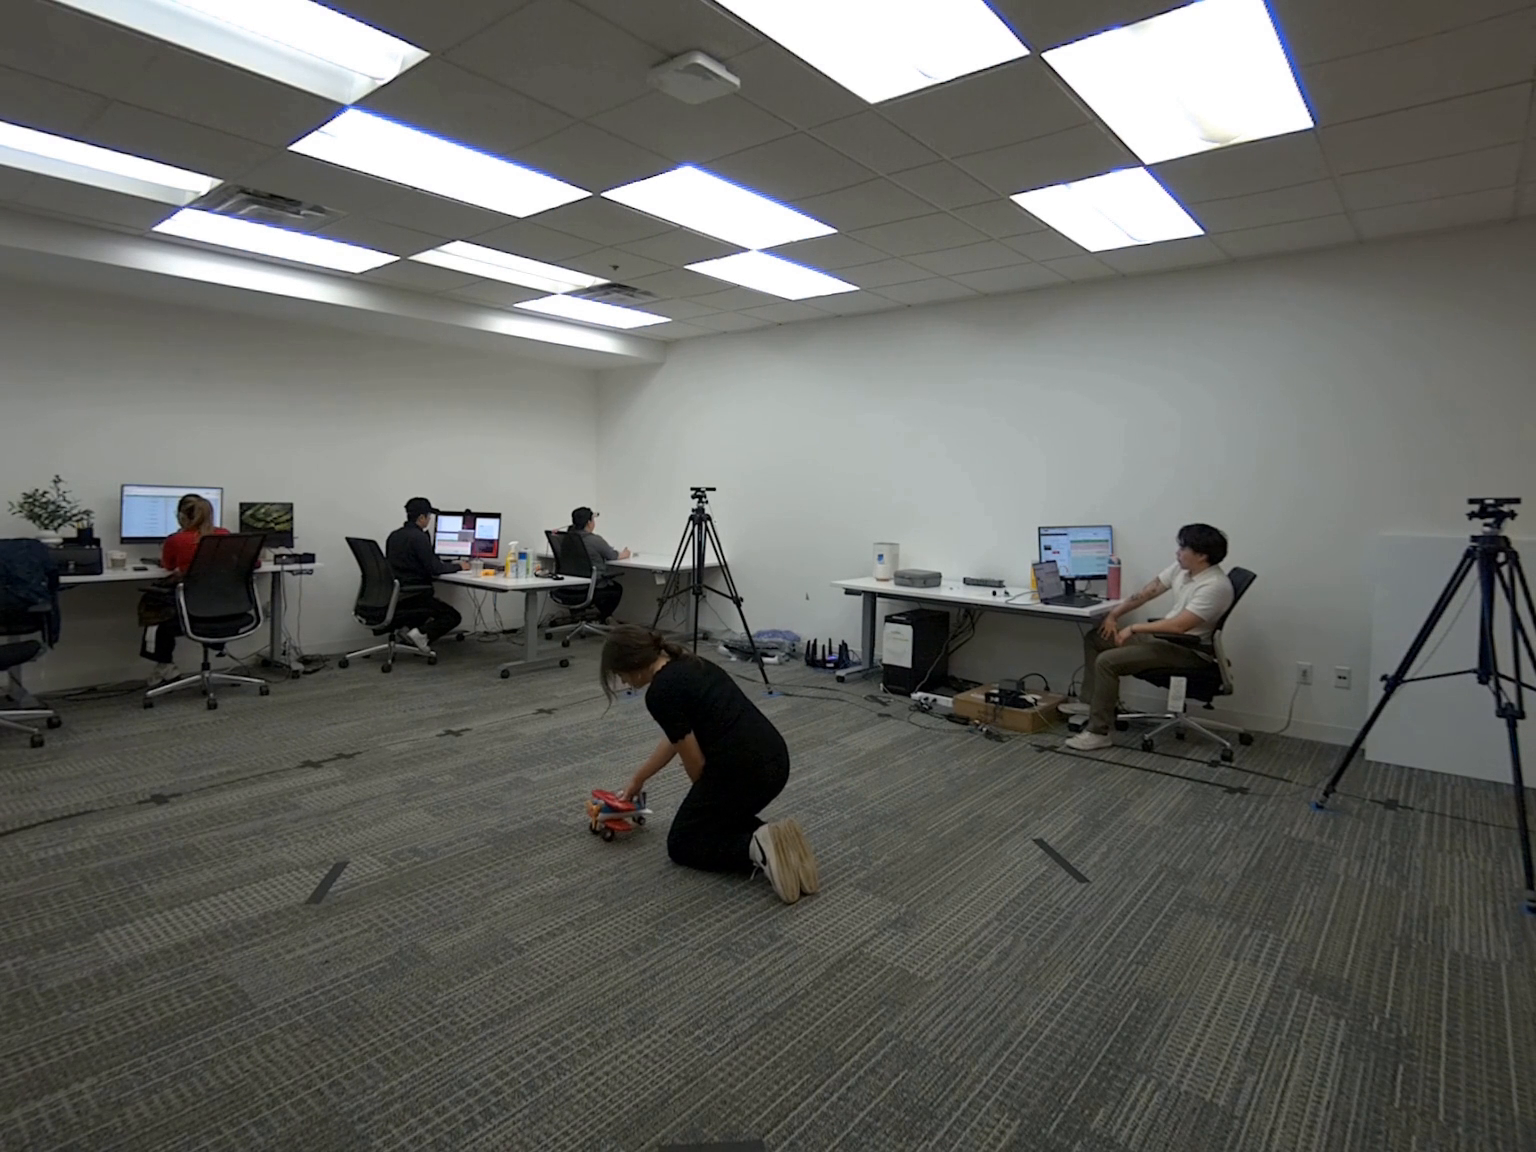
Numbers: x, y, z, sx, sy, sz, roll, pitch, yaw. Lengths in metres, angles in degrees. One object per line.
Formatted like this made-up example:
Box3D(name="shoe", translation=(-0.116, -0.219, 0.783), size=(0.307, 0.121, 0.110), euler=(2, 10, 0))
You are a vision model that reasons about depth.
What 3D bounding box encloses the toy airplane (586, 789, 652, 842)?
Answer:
Box3D(name="toy airplane", translation=(-0.623, 0.951, 3.429), size=(0.257, 0.155, 0.255), euler=(0, 8, 22))
